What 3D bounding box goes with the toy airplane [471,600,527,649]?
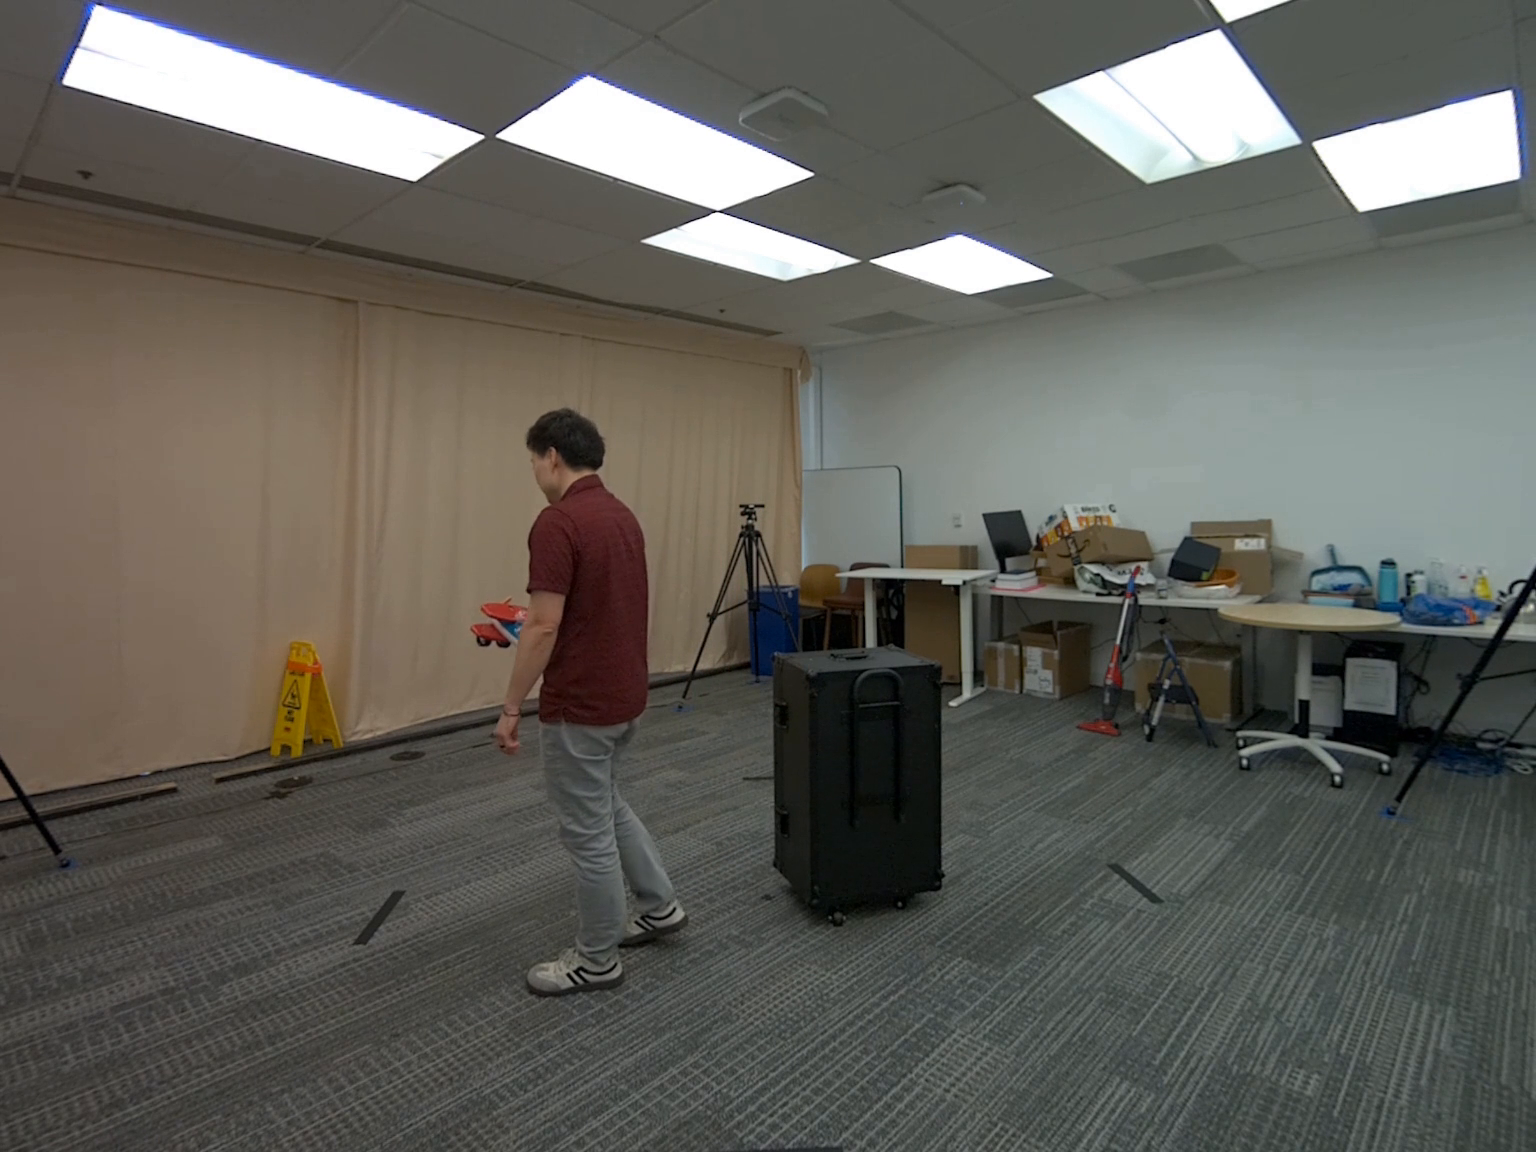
[{"bbox_3d":[-0.820,0.191,2.778,0.262,0.156,0.249,17,2,6],"label":"toy airplane"}]
